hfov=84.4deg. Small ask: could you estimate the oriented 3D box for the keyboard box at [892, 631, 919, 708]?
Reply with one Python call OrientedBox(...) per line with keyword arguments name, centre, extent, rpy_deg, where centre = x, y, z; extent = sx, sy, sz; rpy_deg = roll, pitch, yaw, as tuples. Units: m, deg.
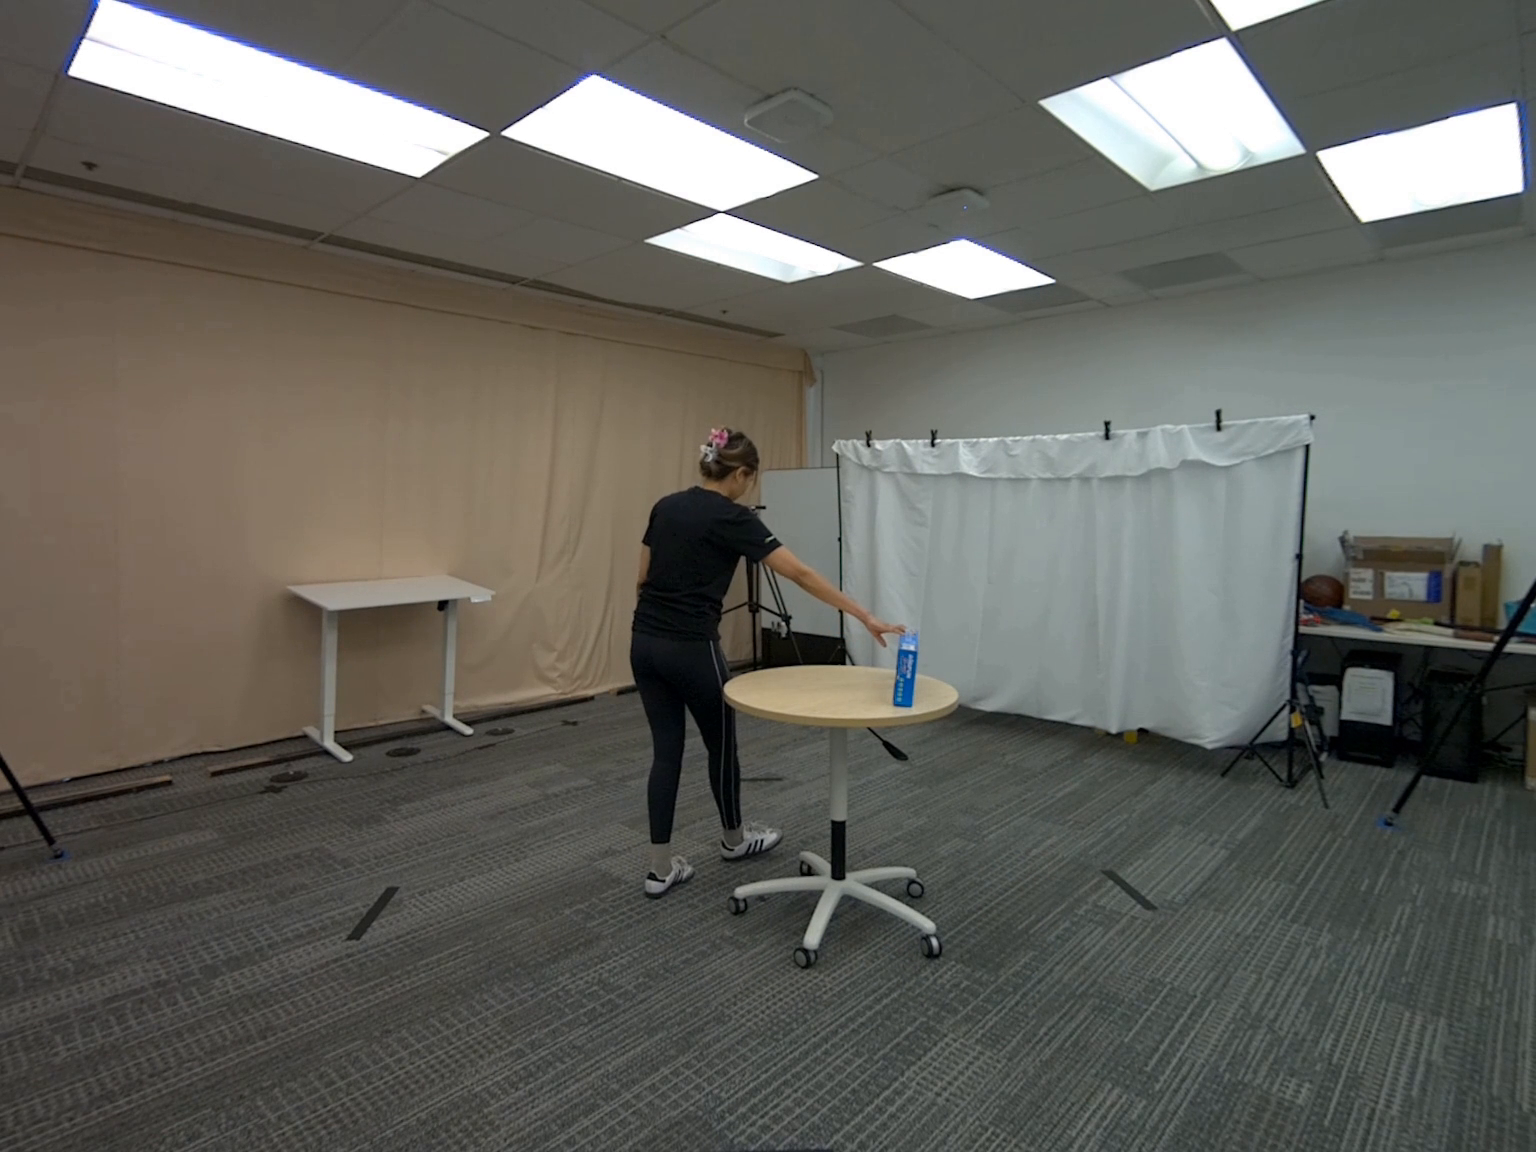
OrientedBox(name="keyboard box", centre=(0.451, 0.291, 2.748), extent=(0.060, 0.175, 0.432), rpy_deg=(3, 5, 10))
